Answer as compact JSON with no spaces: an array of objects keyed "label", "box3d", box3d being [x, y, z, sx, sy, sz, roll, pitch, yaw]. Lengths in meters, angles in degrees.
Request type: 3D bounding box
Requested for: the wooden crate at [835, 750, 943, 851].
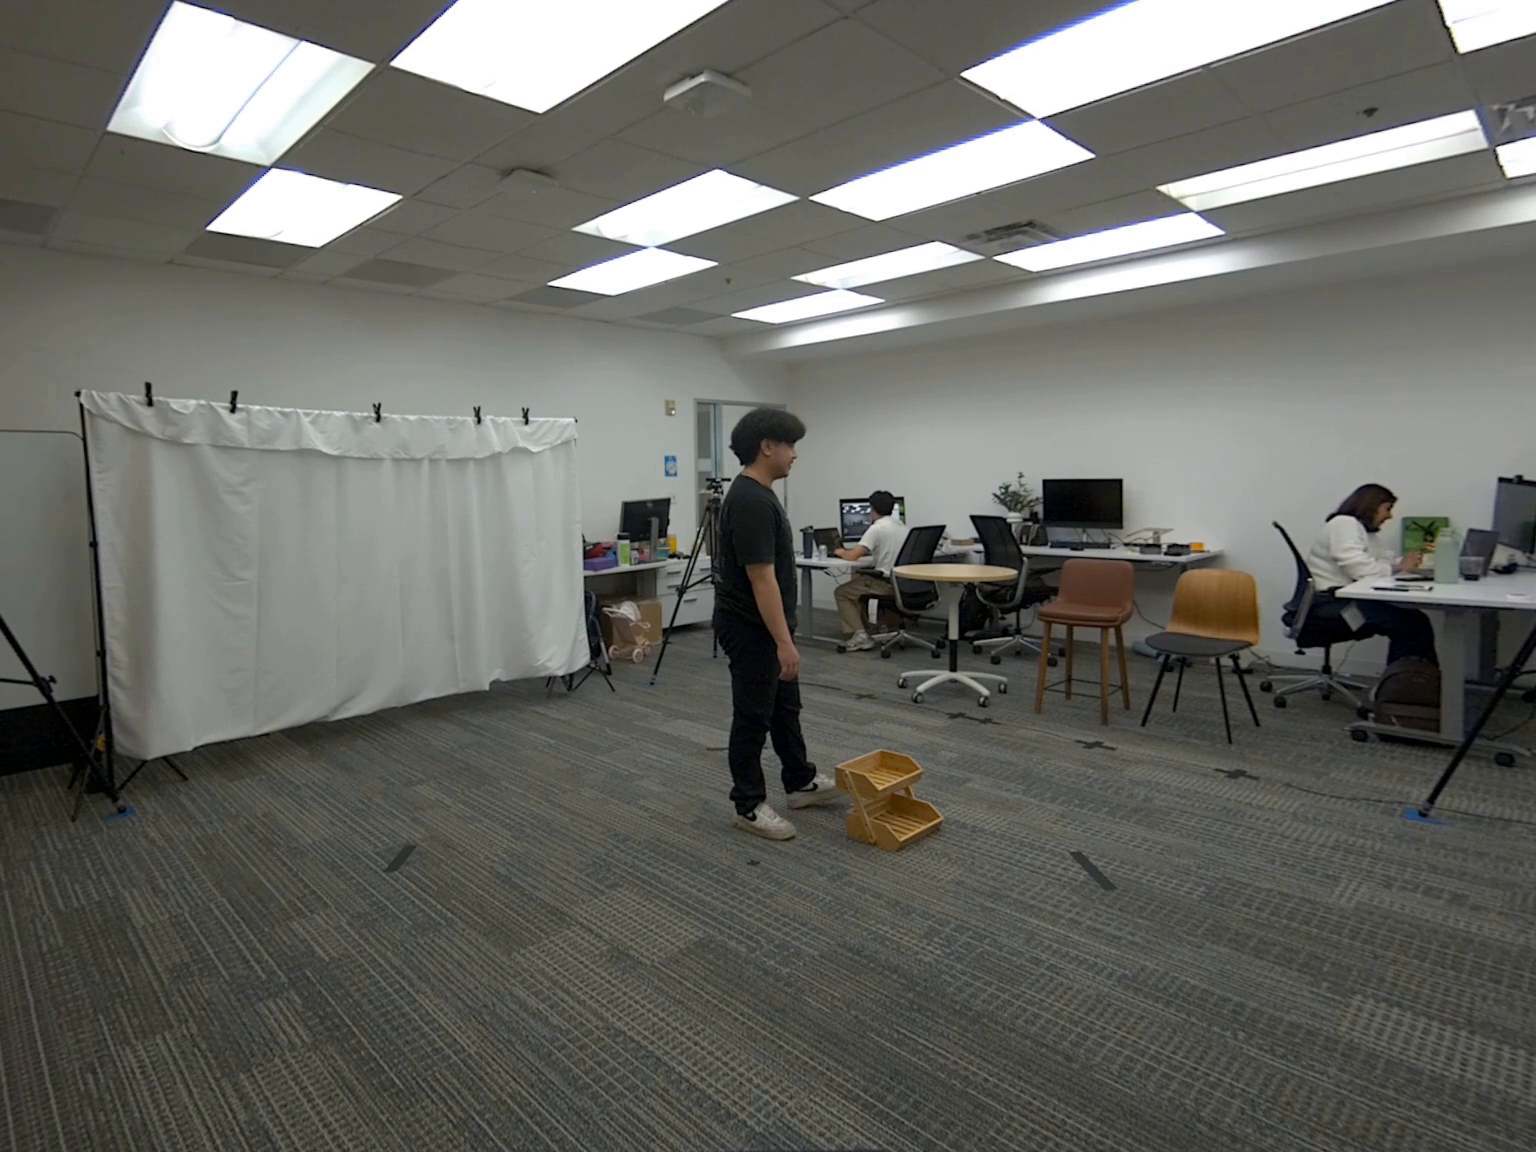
[{"label":"wooden crate","box3d":[0.484,0.873,3.362,0.311,0.272,0.316,3,6,45]}]
